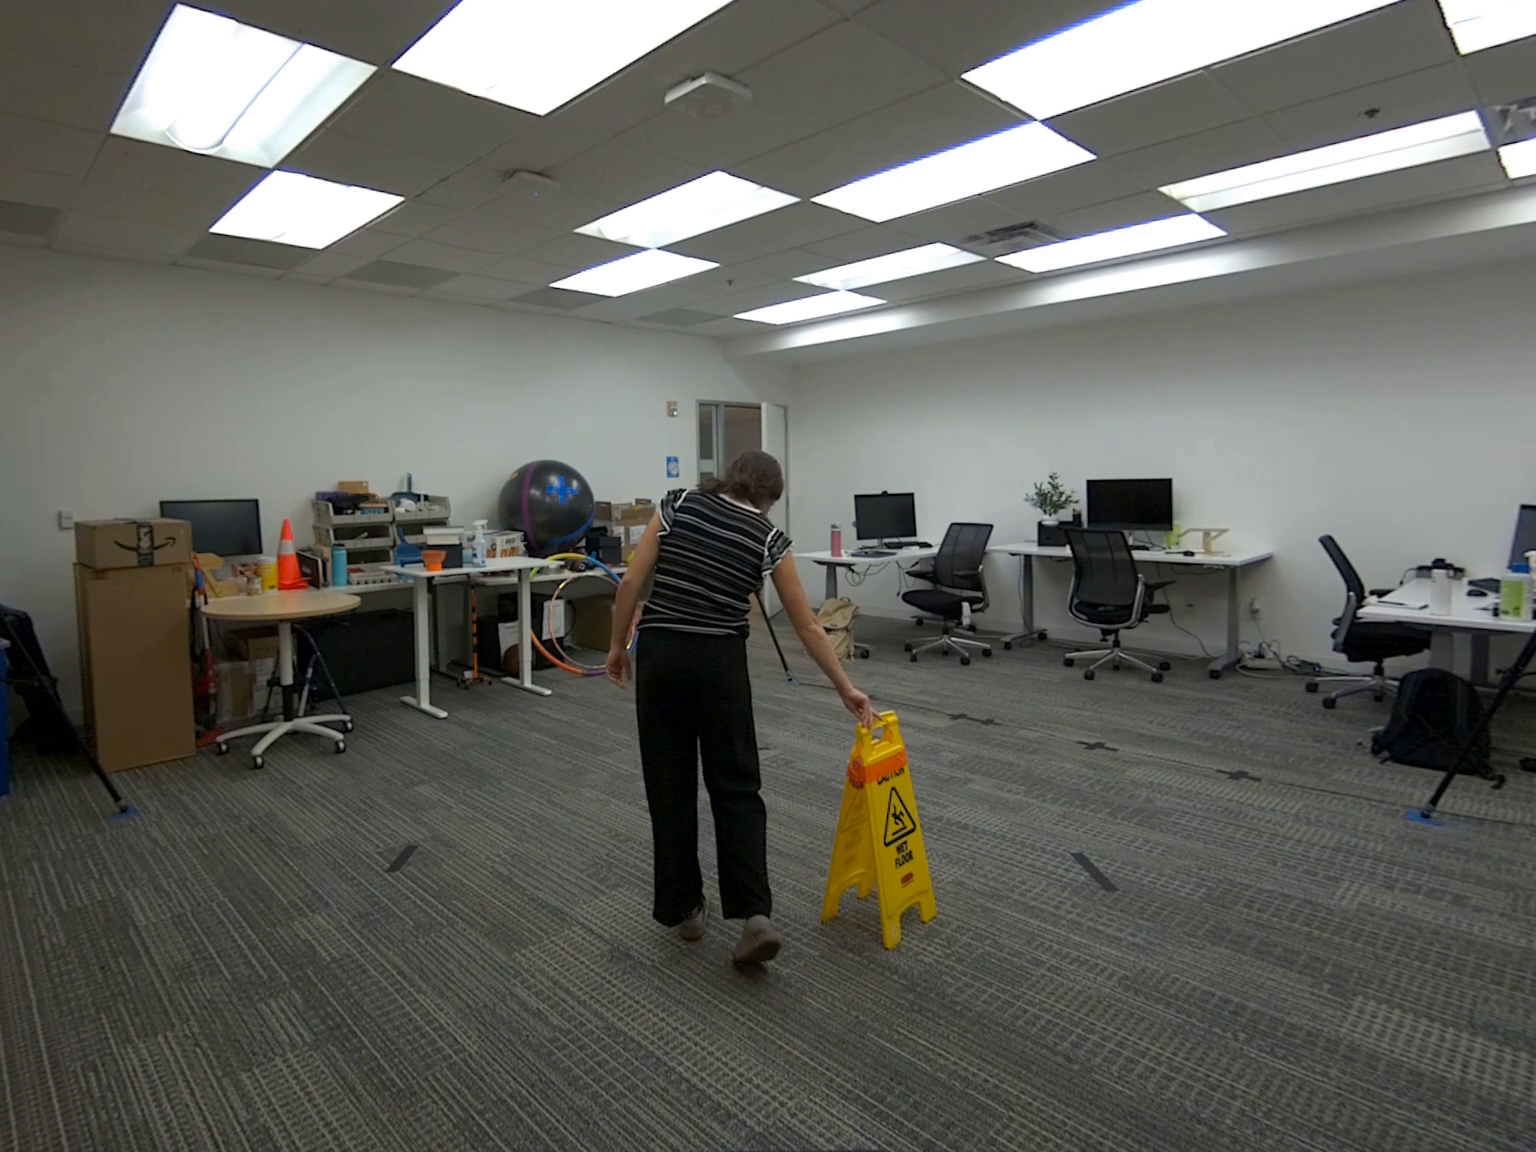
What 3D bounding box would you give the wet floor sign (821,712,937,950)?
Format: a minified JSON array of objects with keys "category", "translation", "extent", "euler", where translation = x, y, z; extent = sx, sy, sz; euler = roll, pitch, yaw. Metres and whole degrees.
[{"category":"wet floor sign","translation":[0.352,0.761,2.681],"extent":[0.298,0.643,0.275],"euler":[3,6,42]}]
